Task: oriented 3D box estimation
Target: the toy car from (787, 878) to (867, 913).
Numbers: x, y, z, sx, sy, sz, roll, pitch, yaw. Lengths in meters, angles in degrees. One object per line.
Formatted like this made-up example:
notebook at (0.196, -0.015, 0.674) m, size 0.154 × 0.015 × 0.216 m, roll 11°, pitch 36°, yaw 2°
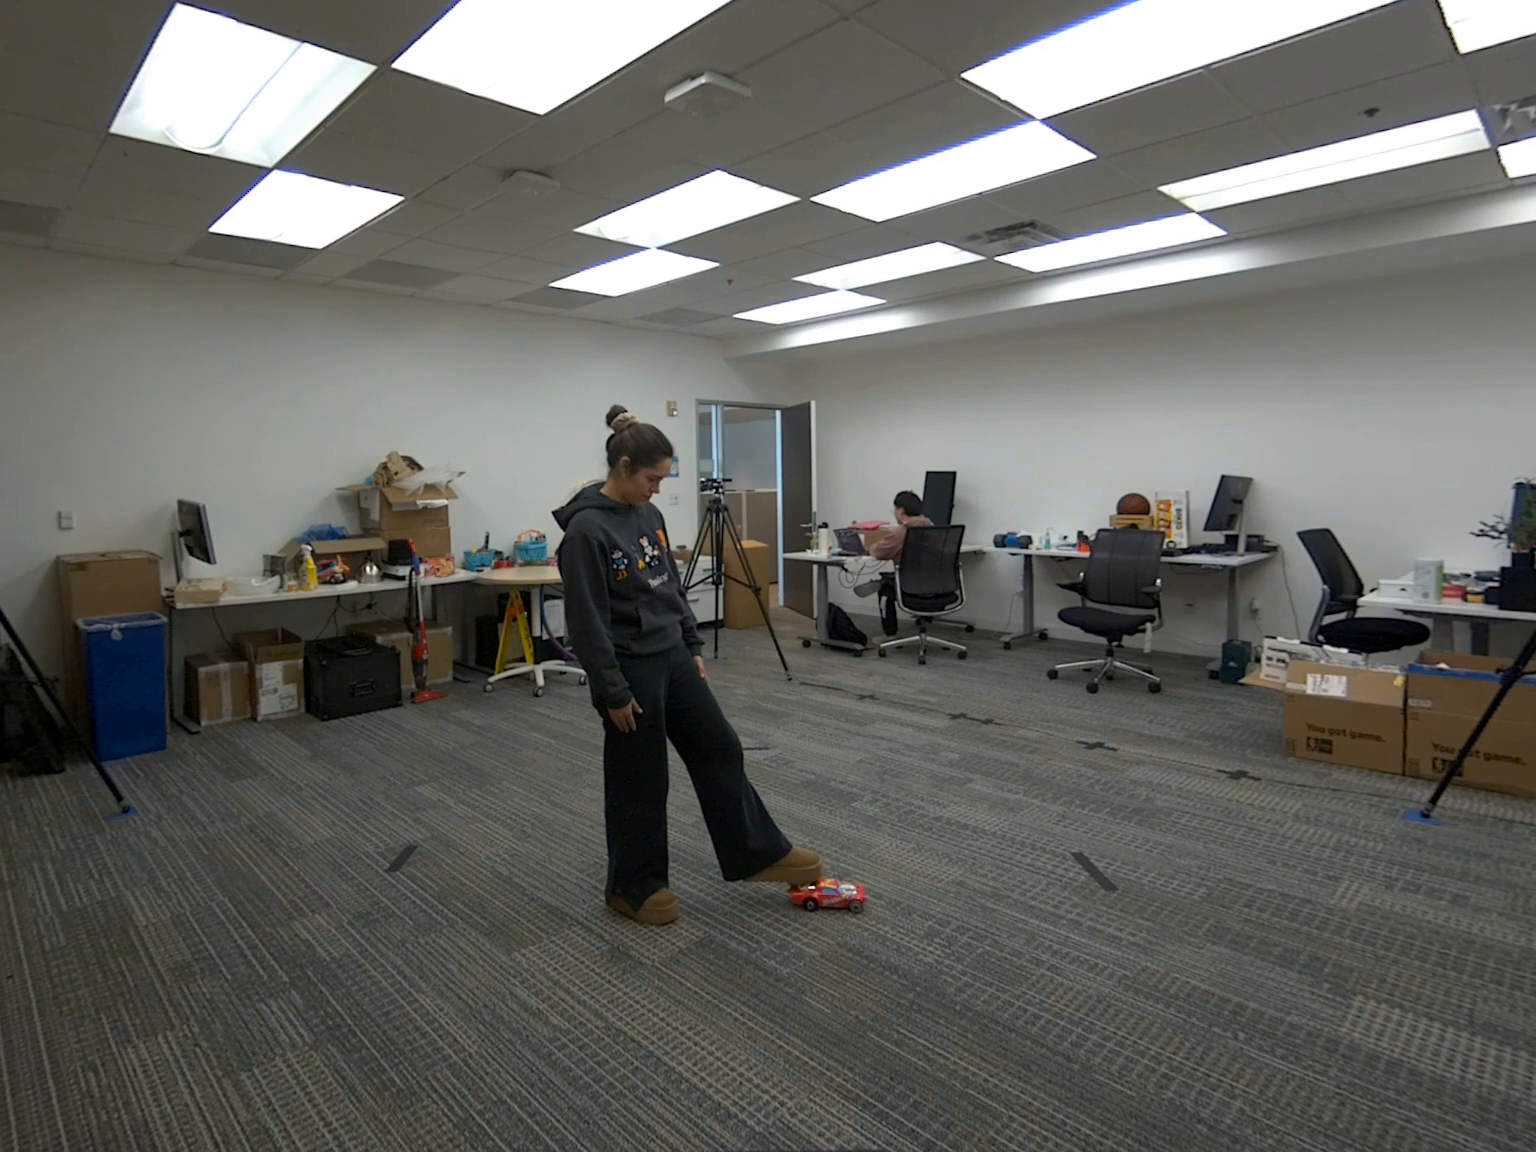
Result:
toy car at (0.190, 1.042, 2.776) m, size 0.256 × 0.083 × 0.130 m, roll 9°, pitch 5°, yaw 4°
